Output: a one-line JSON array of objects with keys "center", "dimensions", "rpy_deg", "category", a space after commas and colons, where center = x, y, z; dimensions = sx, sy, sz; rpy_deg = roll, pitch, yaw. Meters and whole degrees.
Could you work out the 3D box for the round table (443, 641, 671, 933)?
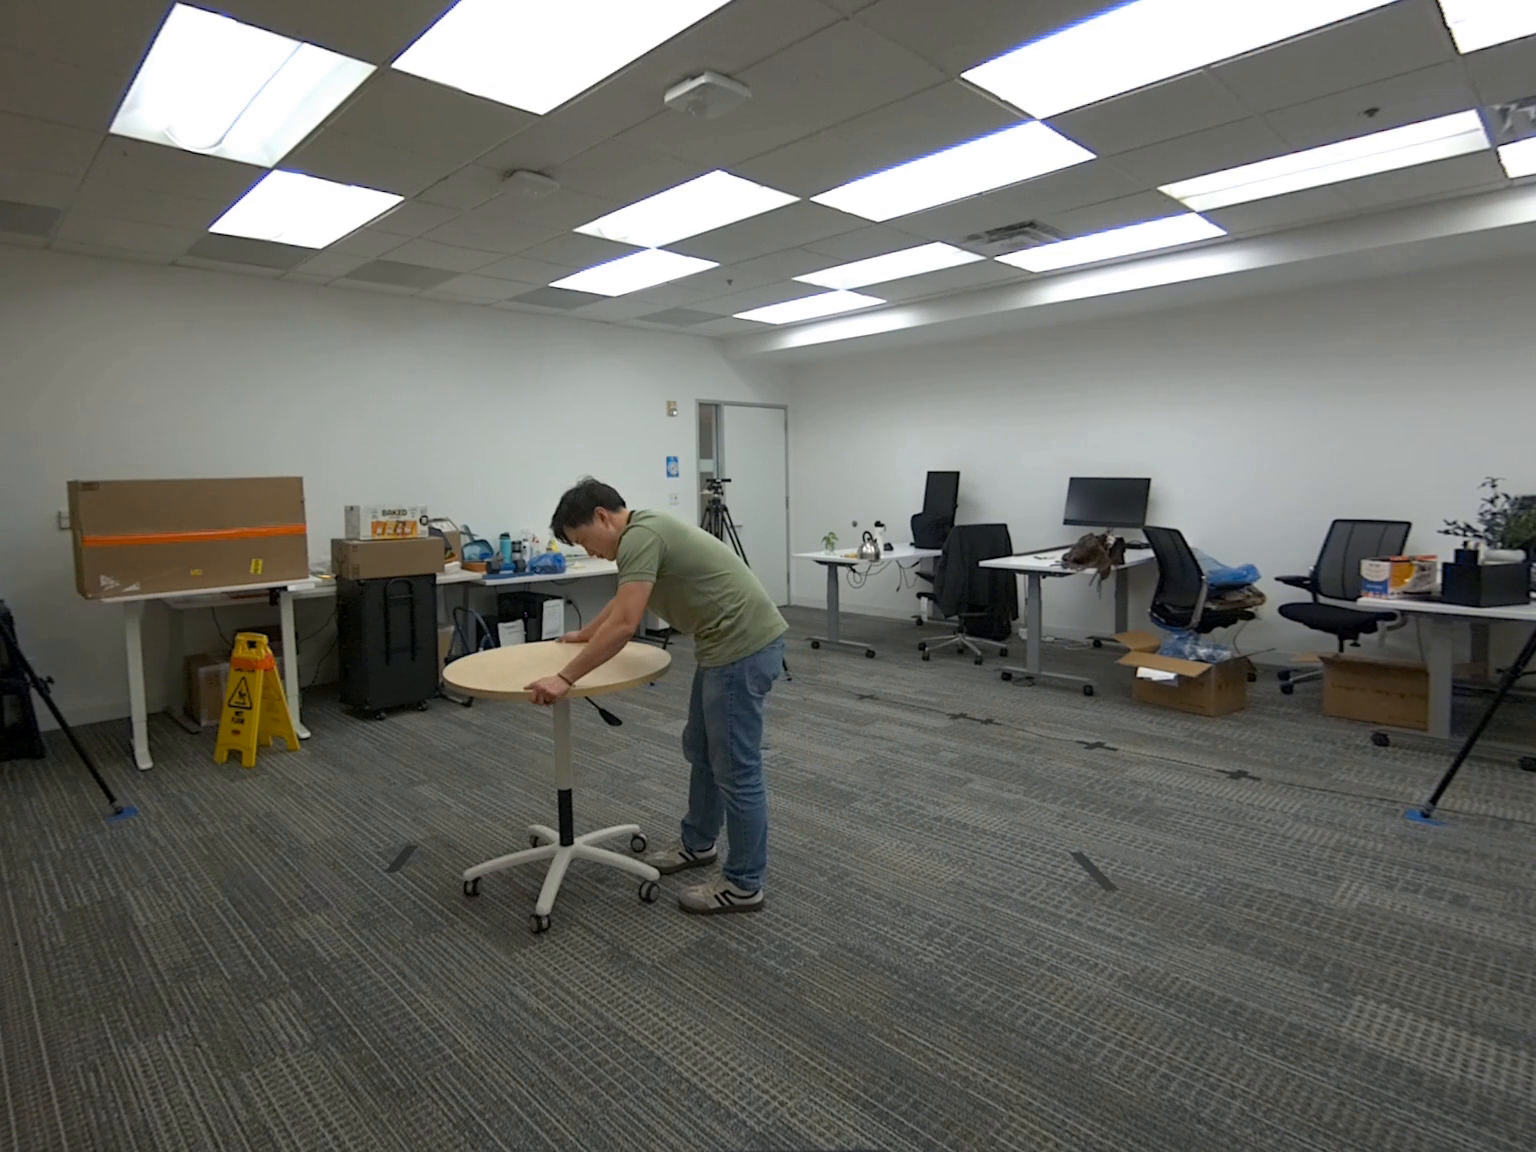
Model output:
[{"center": [-0.696, 0.683, 2.964], "dimensions": [0.763, 0.790, 0.768], "rpy_deg": [-2, 5, -2], "category": "round table"}]
